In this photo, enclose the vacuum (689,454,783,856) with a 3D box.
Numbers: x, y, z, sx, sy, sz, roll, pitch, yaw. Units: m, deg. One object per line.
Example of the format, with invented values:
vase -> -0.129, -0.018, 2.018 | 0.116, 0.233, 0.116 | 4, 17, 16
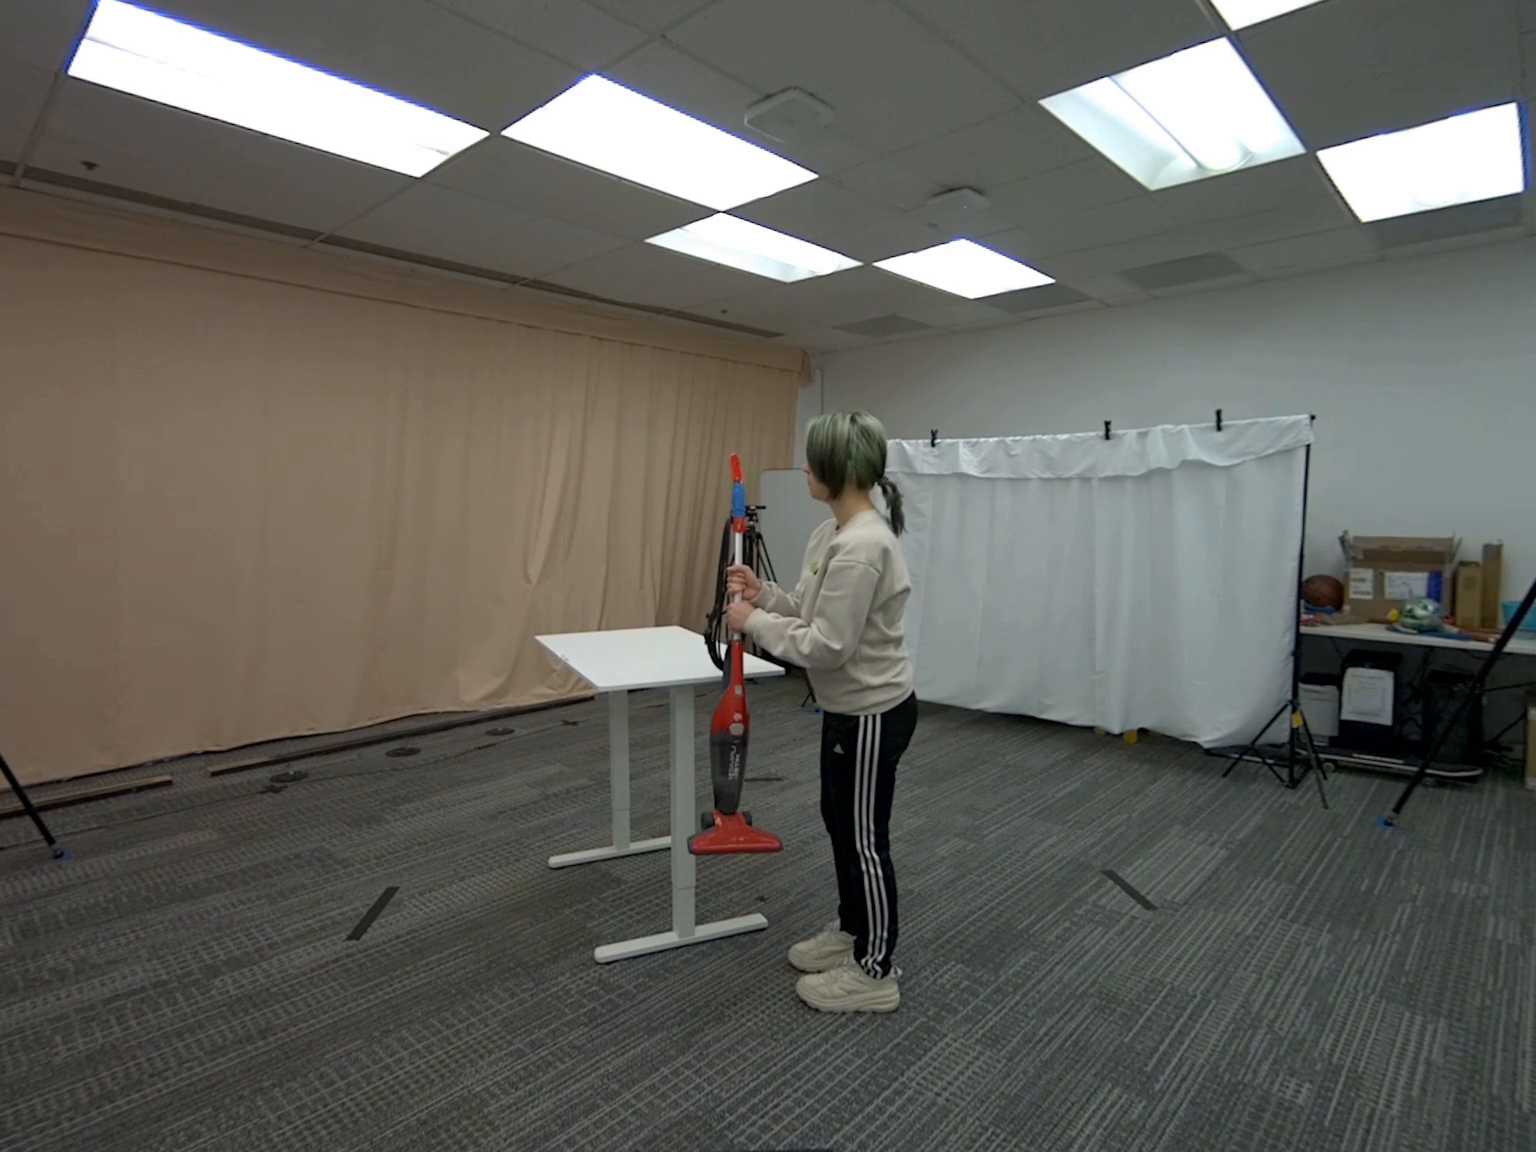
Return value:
vacuum -> -0.093, 0.190, 2.330 | 0.245, 1.056, 0.147 | 6, -13, -31
